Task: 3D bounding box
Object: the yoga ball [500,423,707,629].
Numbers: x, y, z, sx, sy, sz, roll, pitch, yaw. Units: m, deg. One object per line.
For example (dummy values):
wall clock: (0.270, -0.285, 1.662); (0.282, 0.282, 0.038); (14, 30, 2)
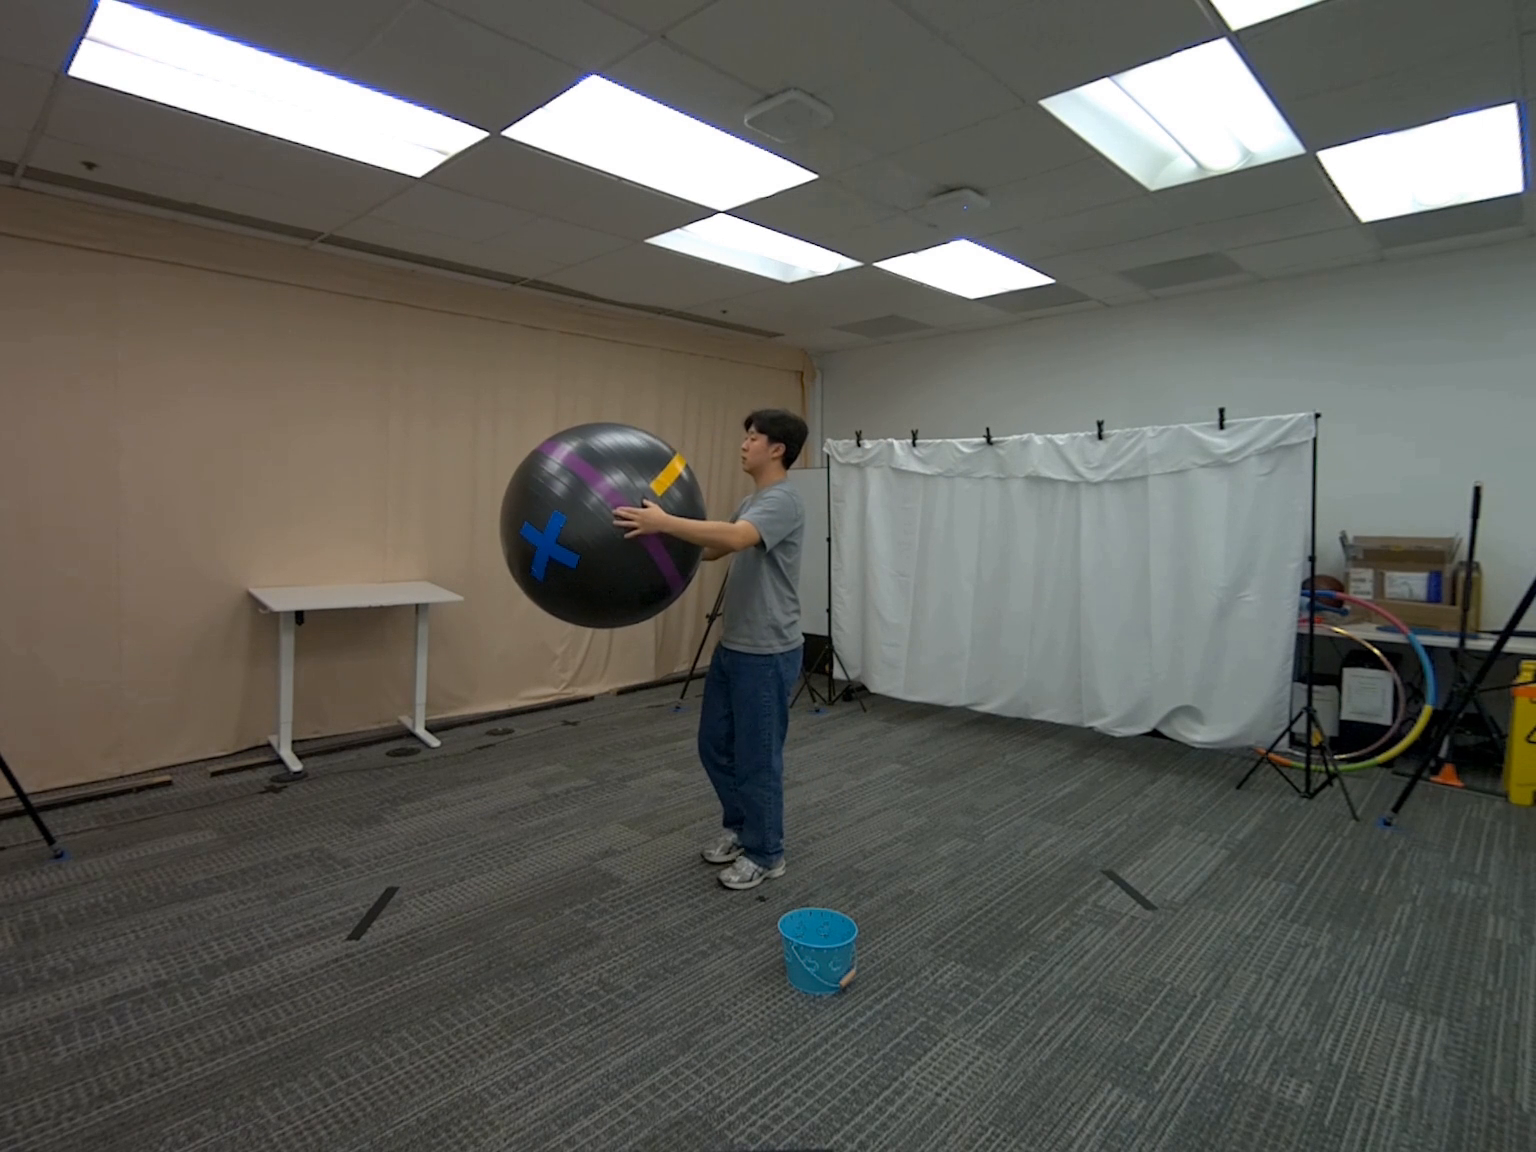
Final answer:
yoga ball: (-0.612, -0.178, 3.123); (0.757, 0.756, 0.761); (0, 4, -2)
